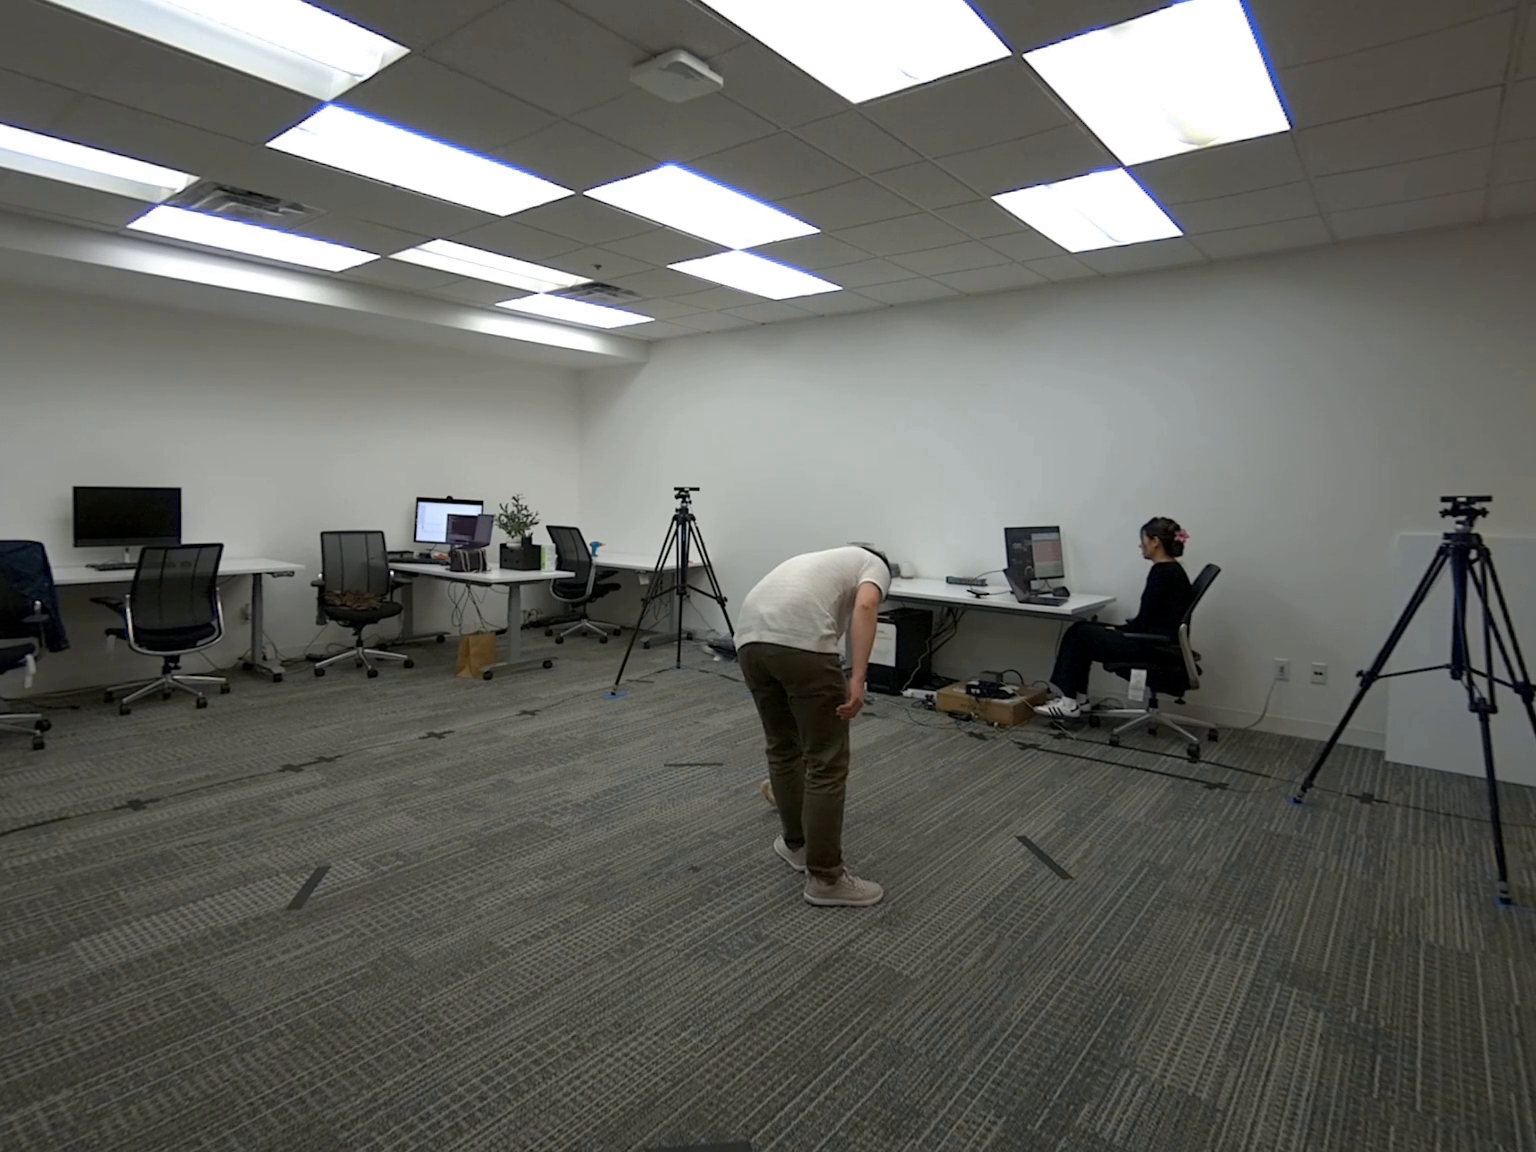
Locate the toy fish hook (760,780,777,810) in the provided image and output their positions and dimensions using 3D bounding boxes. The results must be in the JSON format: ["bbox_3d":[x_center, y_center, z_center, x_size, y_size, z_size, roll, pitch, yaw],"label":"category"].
[{"bbox_3d":[0.080,0.826,3.529,0.225,0.494,0.049,7,44,0],"label":"toy fish hook"}]
